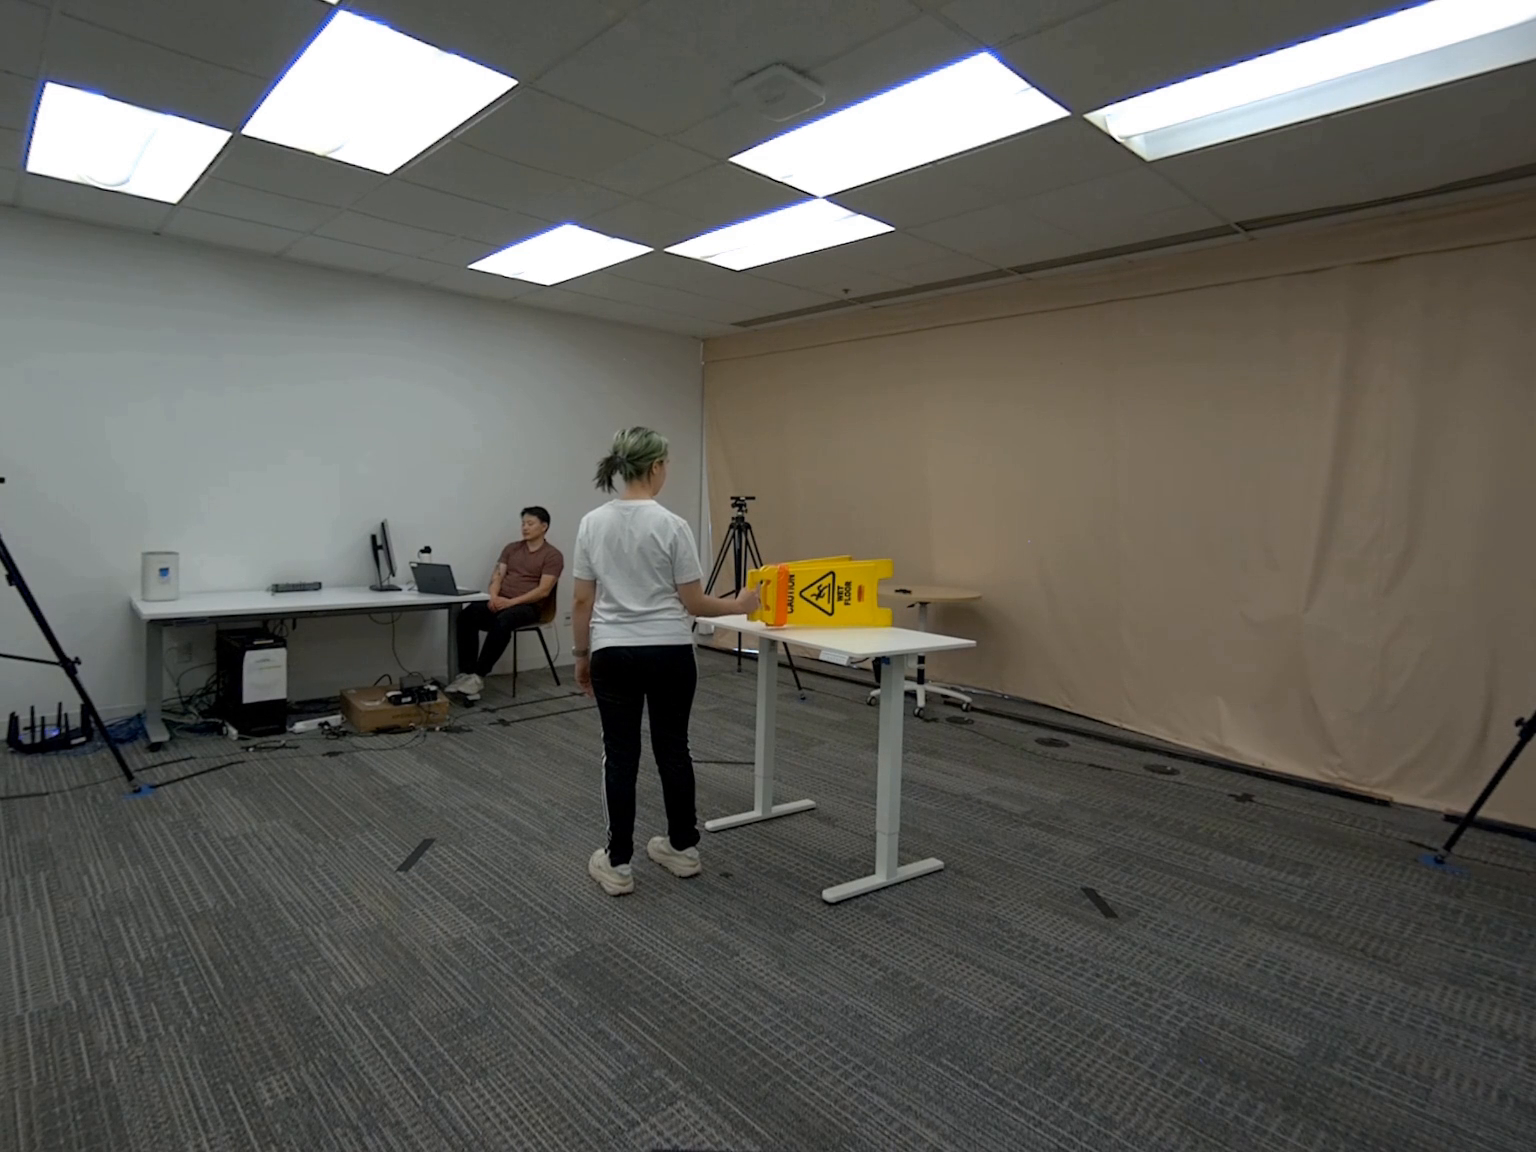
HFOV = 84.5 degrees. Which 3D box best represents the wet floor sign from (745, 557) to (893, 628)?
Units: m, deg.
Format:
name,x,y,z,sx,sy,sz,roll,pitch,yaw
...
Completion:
name,x,y,z,sx,sy,sz,roll,pitch,yaw
wet floor sign,0.172,0.071,3.378,0.632,0.282,0.297,-2,4,-37
